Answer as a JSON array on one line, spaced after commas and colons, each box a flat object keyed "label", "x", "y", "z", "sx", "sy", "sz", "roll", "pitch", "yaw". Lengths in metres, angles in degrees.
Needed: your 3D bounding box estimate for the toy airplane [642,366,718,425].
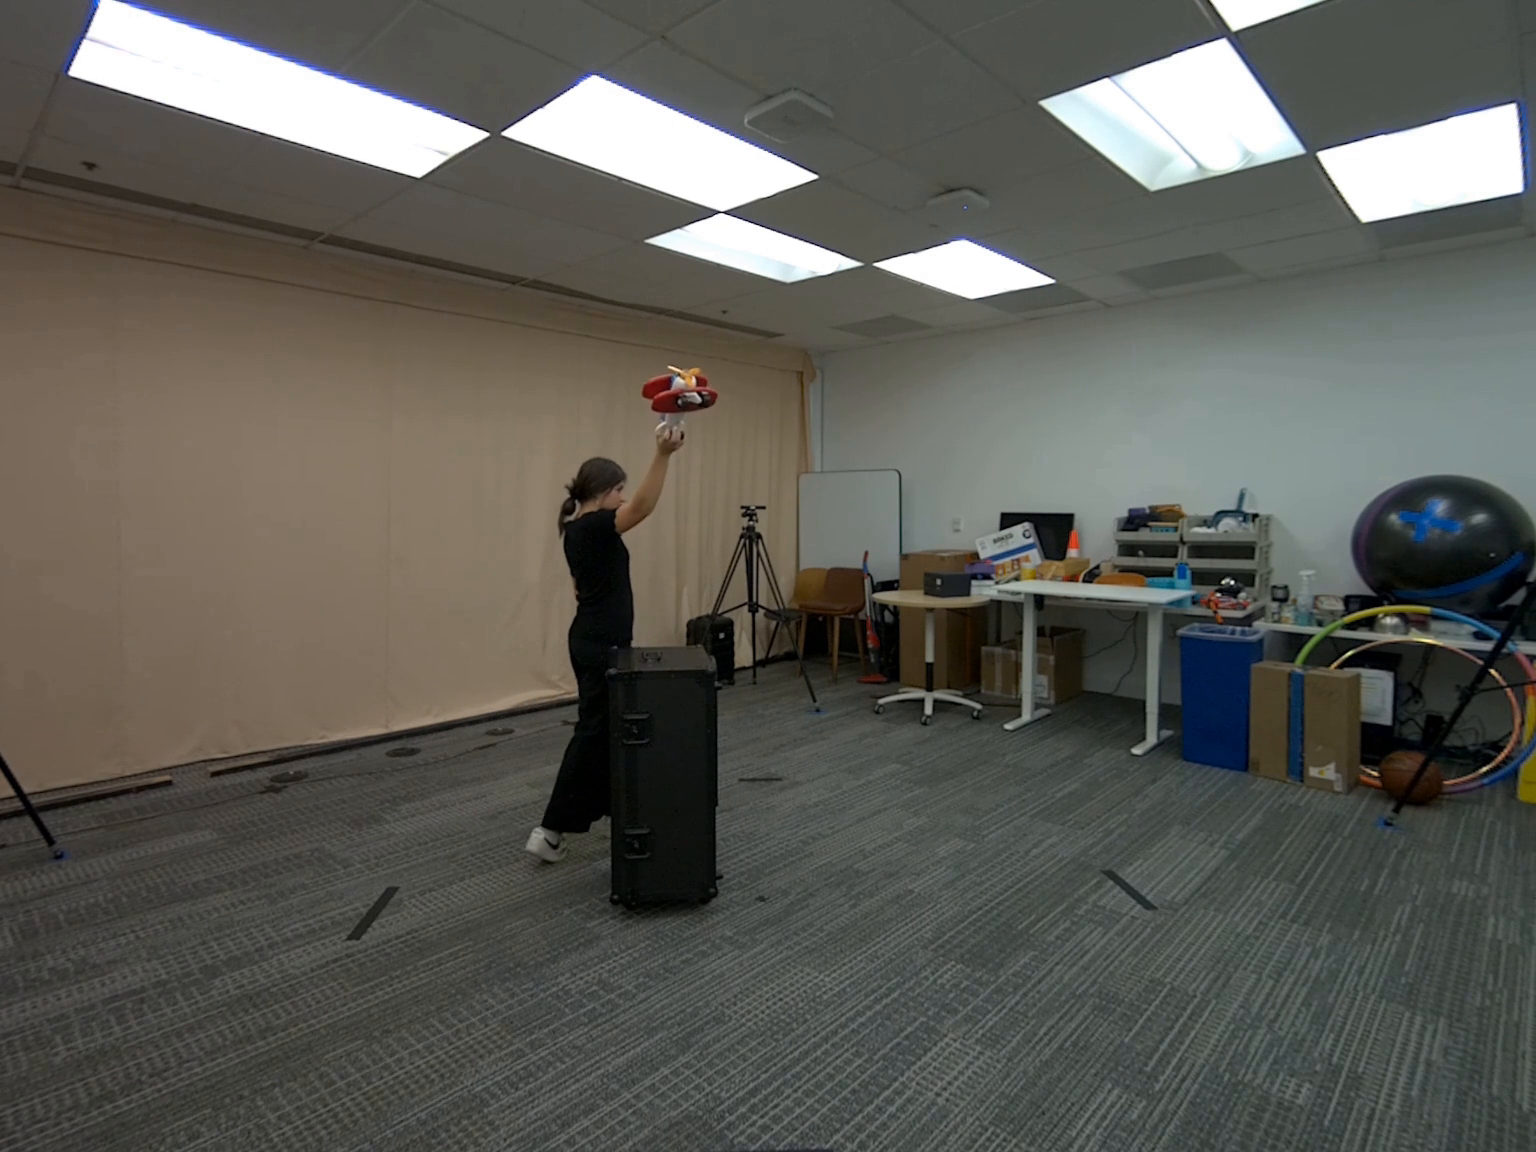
[{"label": "toy airplane", "x": -0.313, "y": -0.587, "z": 2.918, "sx": 0.262, "sy": 0.159, "sz": 0.243, "roll": -33, "pitch": -22, "yaw": 26}]
